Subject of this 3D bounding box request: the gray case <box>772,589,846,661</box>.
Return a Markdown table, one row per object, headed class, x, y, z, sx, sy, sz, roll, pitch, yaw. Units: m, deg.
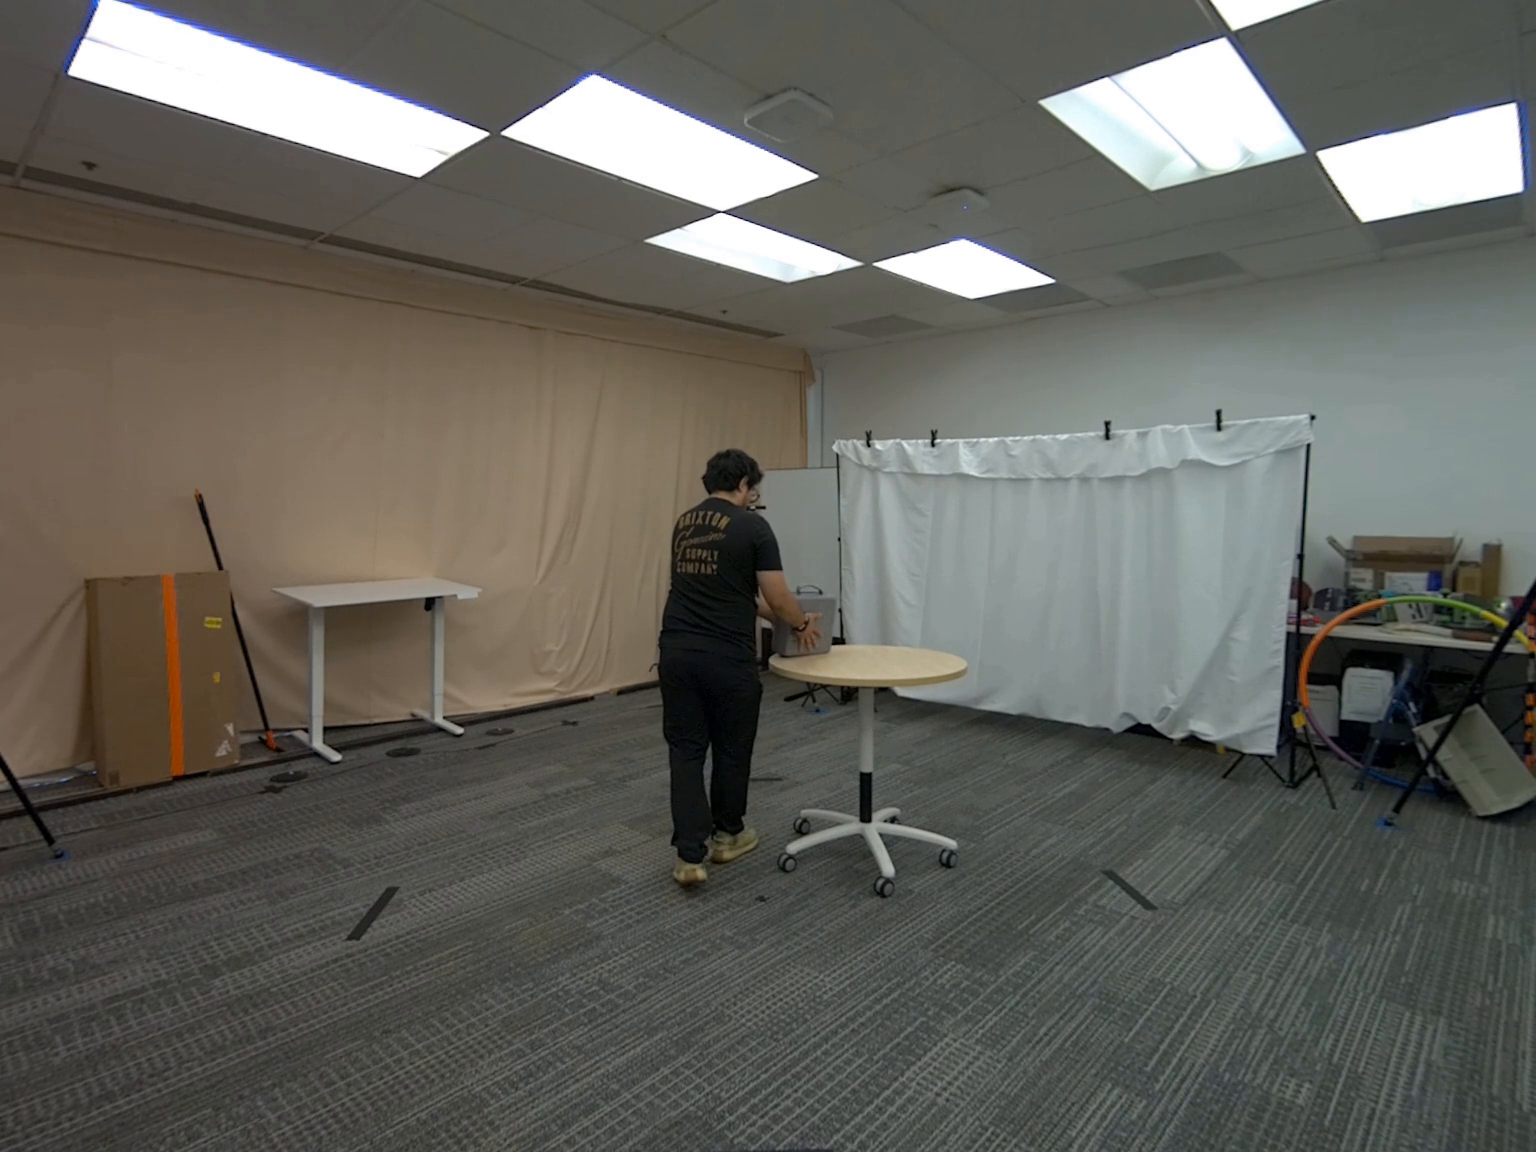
| class | x | y | z | sx | sy | sz | roll | pitch | yaw |
| --- | --- | --- | --- | --- | --- | --- | --- | --- | --- |
| gray case | 0.166 | 0.194 | 3.446 | 0.250 | 0.259 | 0.108 | 0 | 10 | -32 |
